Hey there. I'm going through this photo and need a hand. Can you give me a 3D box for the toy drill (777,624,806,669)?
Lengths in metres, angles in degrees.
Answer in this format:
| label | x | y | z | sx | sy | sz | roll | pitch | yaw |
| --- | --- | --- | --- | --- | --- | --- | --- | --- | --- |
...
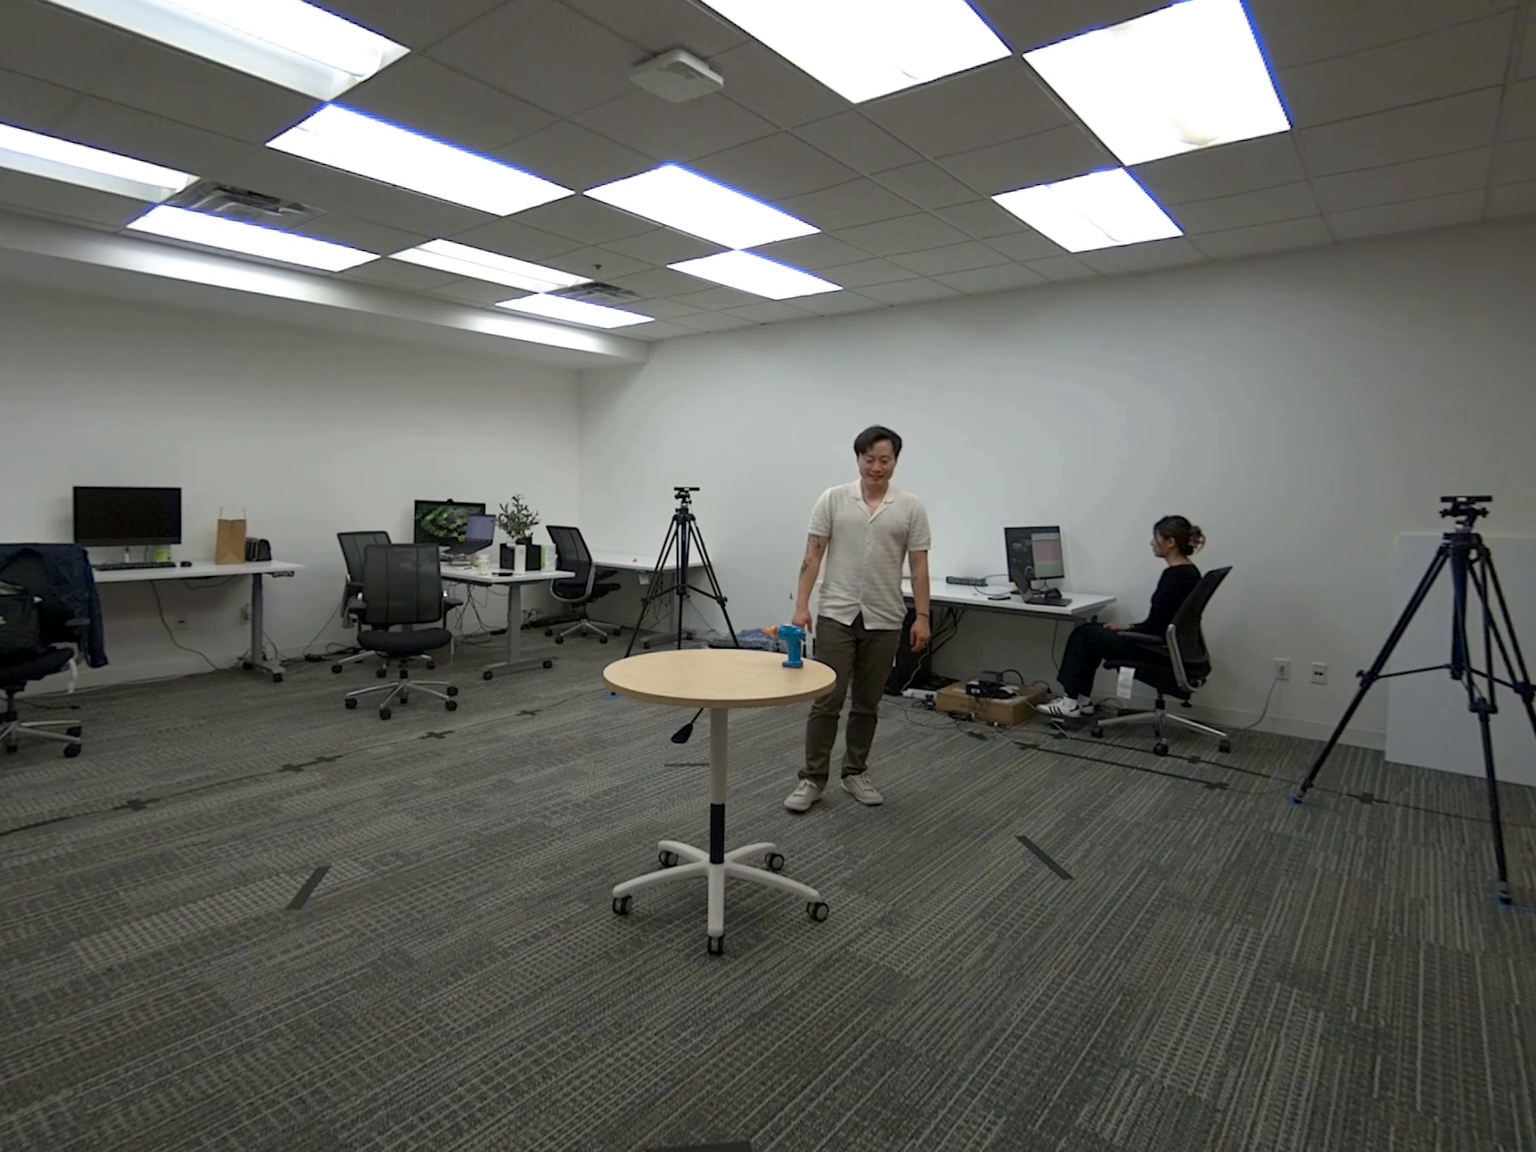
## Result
| label | x | y | z | sx | sy | sz | roll | pitch | yaw |
| --- | --- | --- | --- | --- | --- | --- | --- | --- | --- |
| toy drill | 0.038 | 0.232 | 2.915 | 0.175 | 0.145 | 0.059 | 4 | 4 | 32 |
